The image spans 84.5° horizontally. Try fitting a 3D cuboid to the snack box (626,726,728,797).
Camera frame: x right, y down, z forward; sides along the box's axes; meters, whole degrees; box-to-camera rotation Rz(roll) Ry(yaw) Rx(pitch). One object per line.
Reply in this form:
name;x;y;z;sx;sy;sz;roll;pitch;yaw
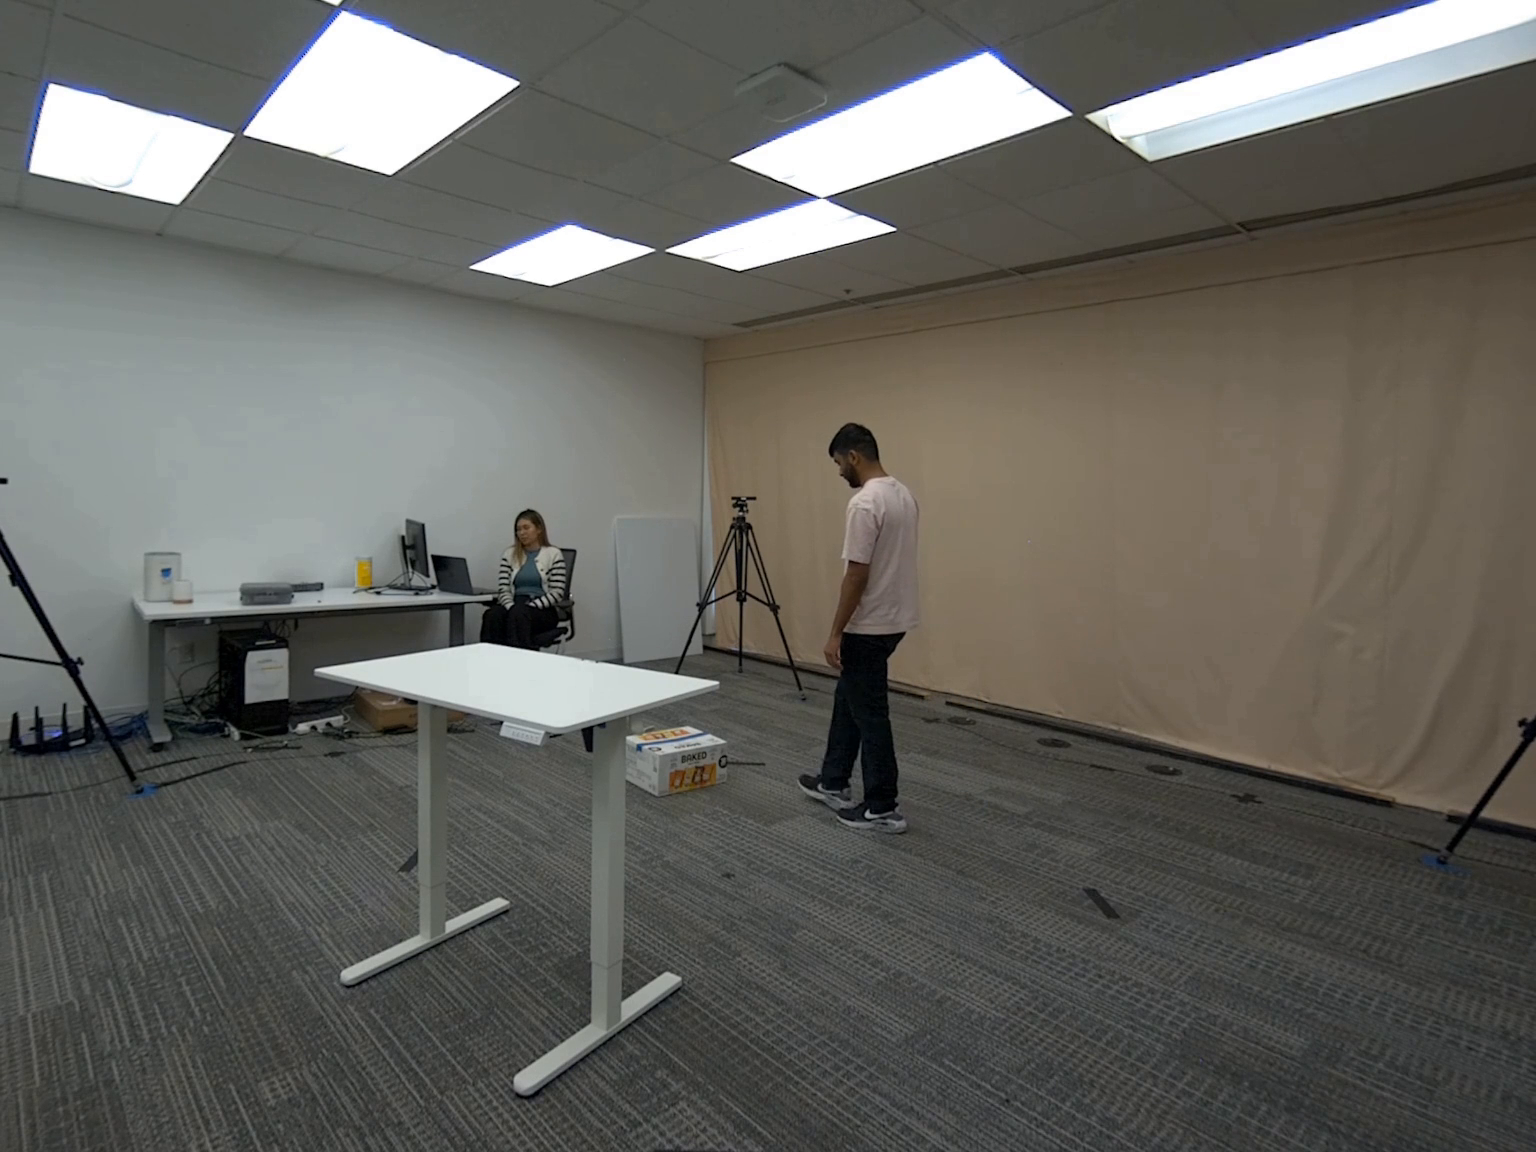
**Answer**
snack box;-0.473;0.907;4.153;0.396;0.205;0.349;-2;5;-39
